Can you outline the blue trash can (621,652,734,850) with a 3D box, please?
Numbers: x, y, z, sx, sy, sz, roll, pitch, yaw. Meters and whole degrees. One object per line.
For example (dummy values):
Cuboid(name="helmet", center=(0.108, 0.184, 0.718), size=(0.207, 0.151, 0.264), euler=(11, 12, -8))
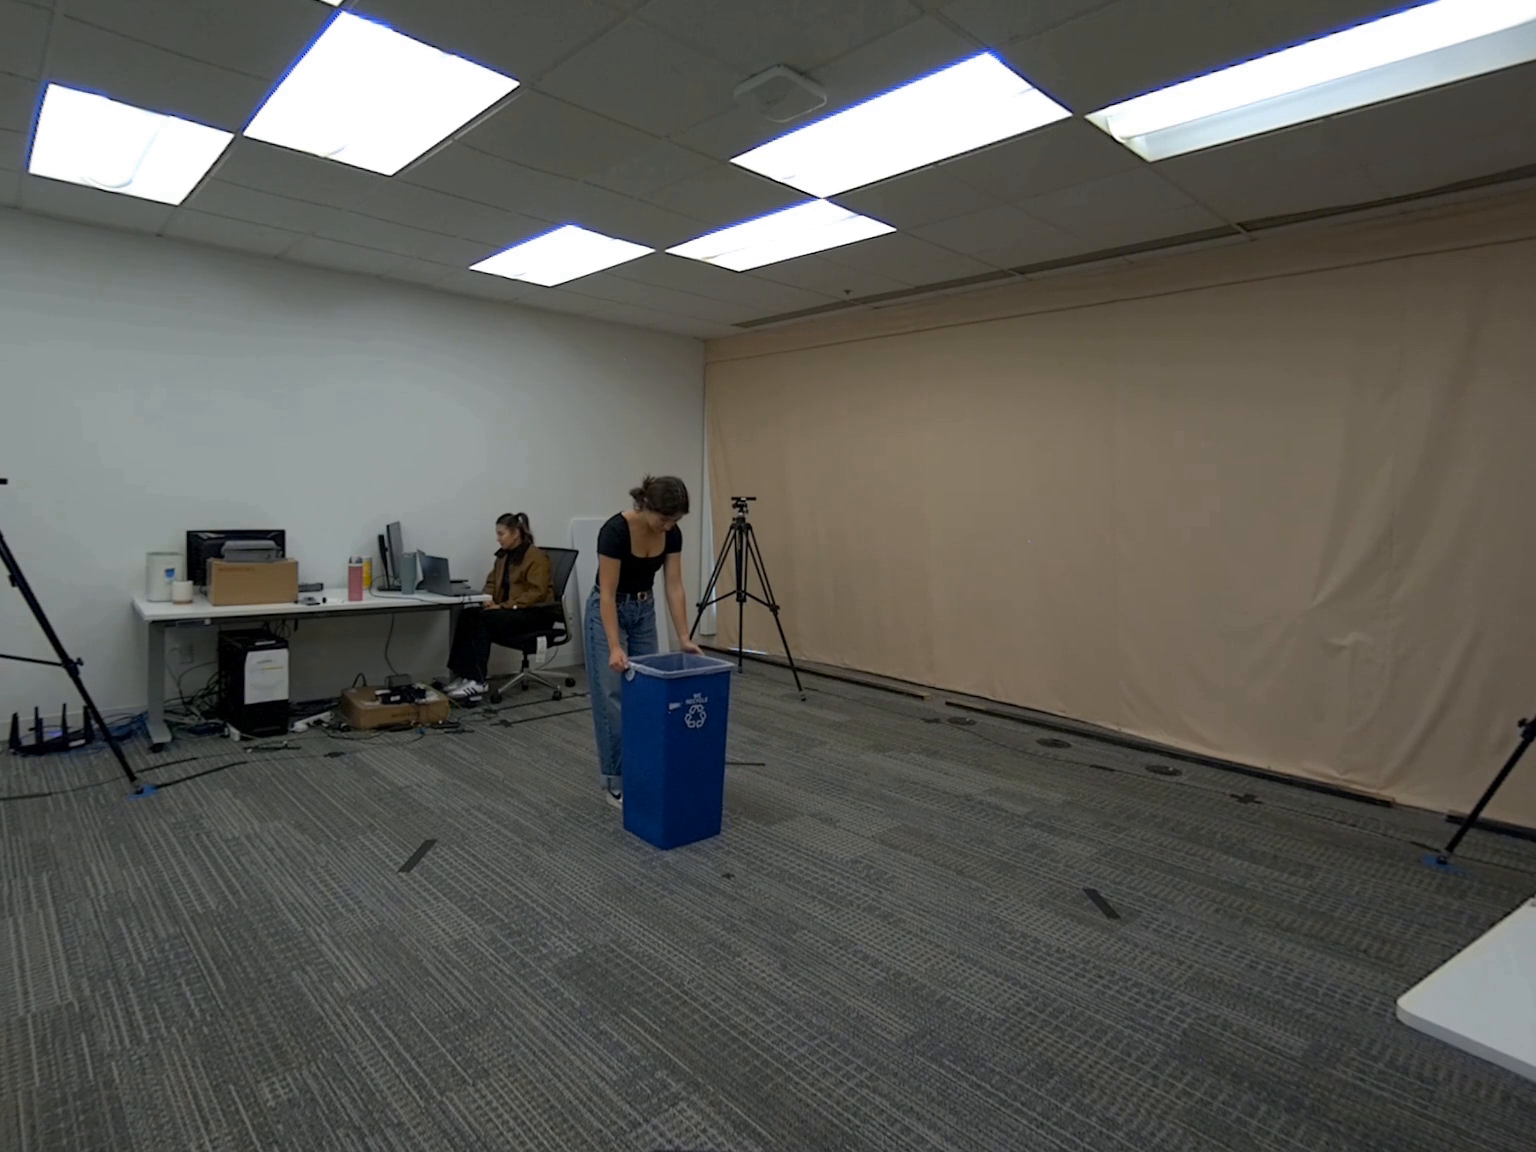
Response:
Cuboid(name="blue trash can", center=(-0.394, 0.708, 3.502), size=(0.365, 0.712, 0.388), euler=(-2, 5, -41))
